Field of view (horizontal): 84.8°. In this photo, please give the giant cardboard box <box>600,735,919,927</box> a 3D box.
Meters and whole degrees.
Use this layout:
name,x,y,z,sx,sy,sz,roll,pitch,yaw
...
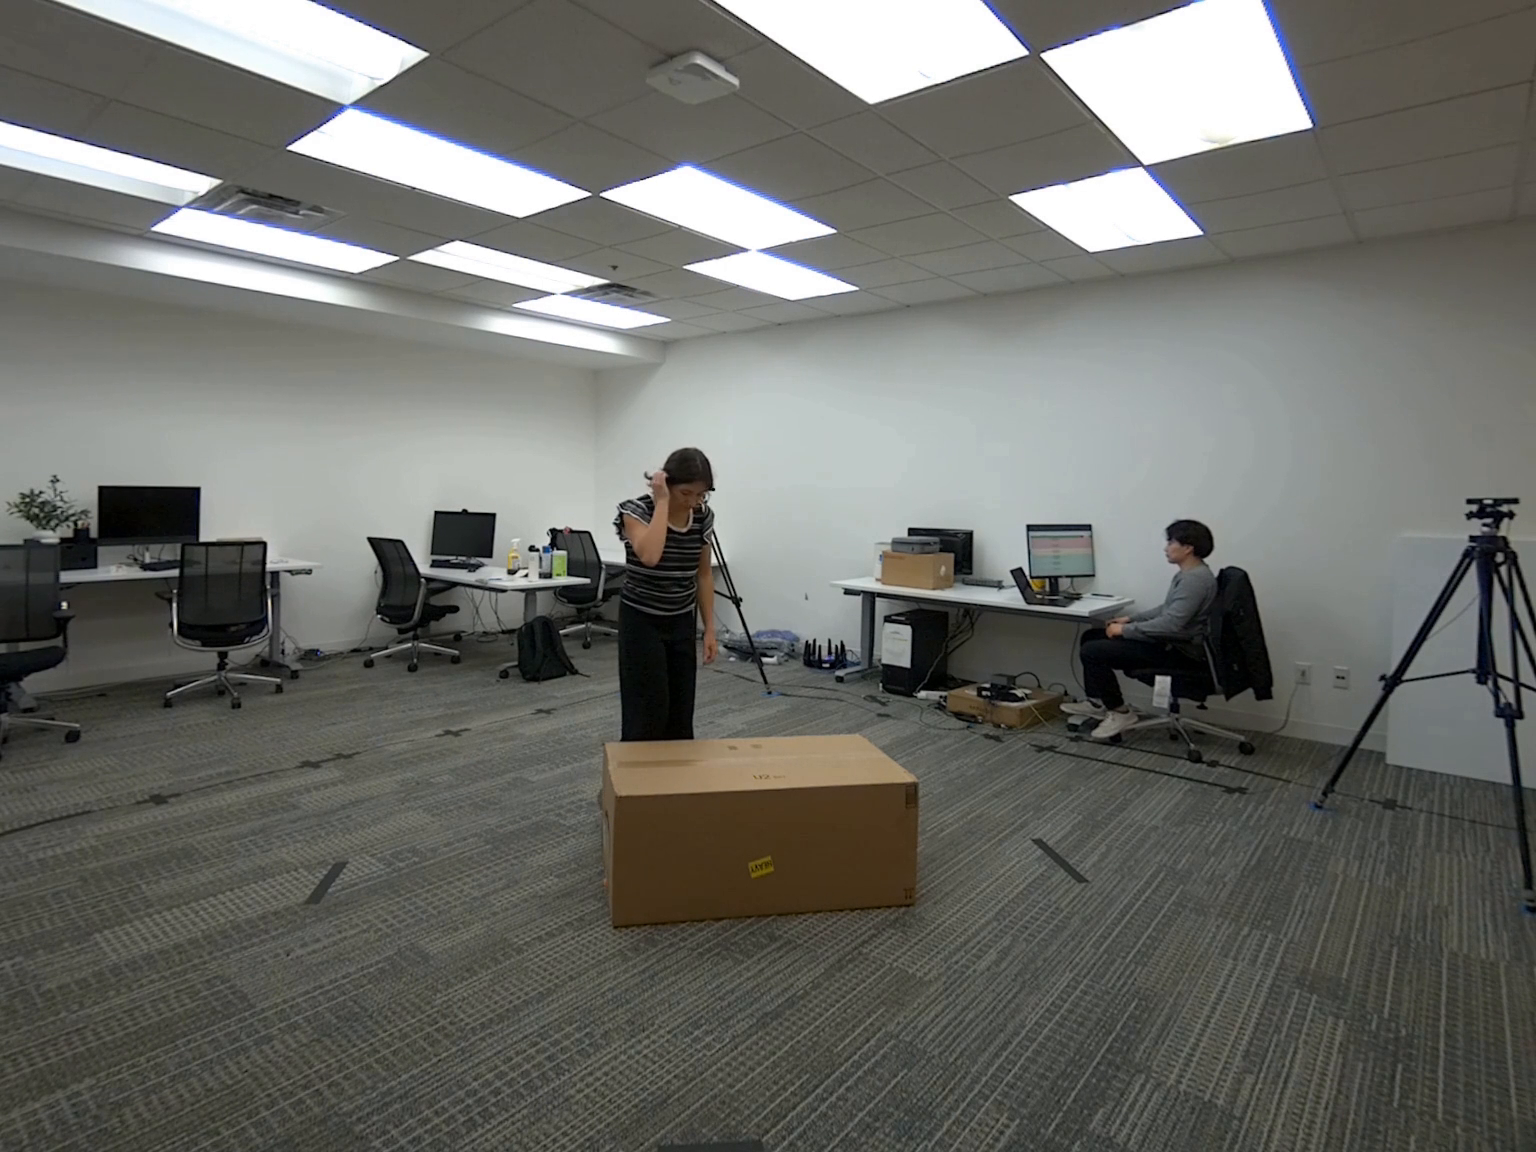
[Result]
name,x,y,z,sx,sy,sz,roll,pitch,yaw
giant cardboard box,-0.065,0.866,3.035,1.013,0.425,0.587,0,4,-12
